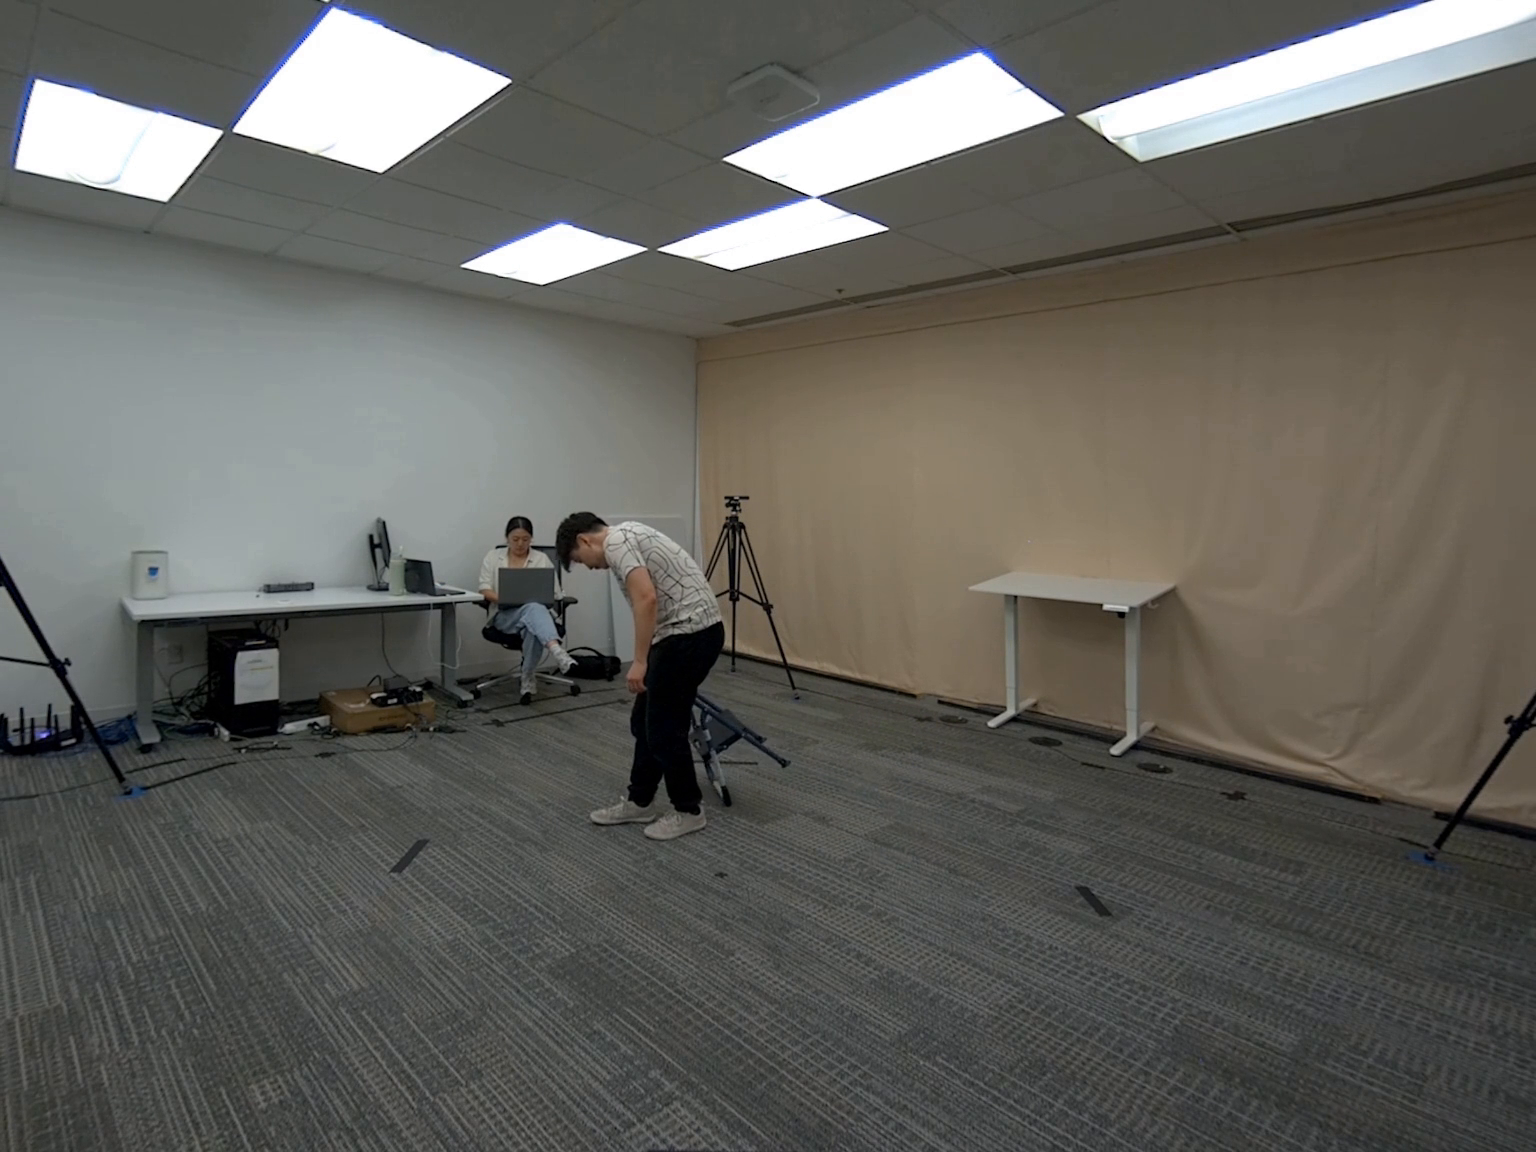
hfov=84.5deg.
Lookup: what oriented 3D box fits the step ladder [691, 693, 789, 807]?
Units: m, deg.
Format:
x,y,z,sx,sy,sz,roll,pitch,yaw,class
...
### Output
x,y,z,sx,sy,sz,roll,pitch,yaw,class
-0.261,0.685,3.977,0.348,0.600,0.436,-33,11,-11,step ladder
